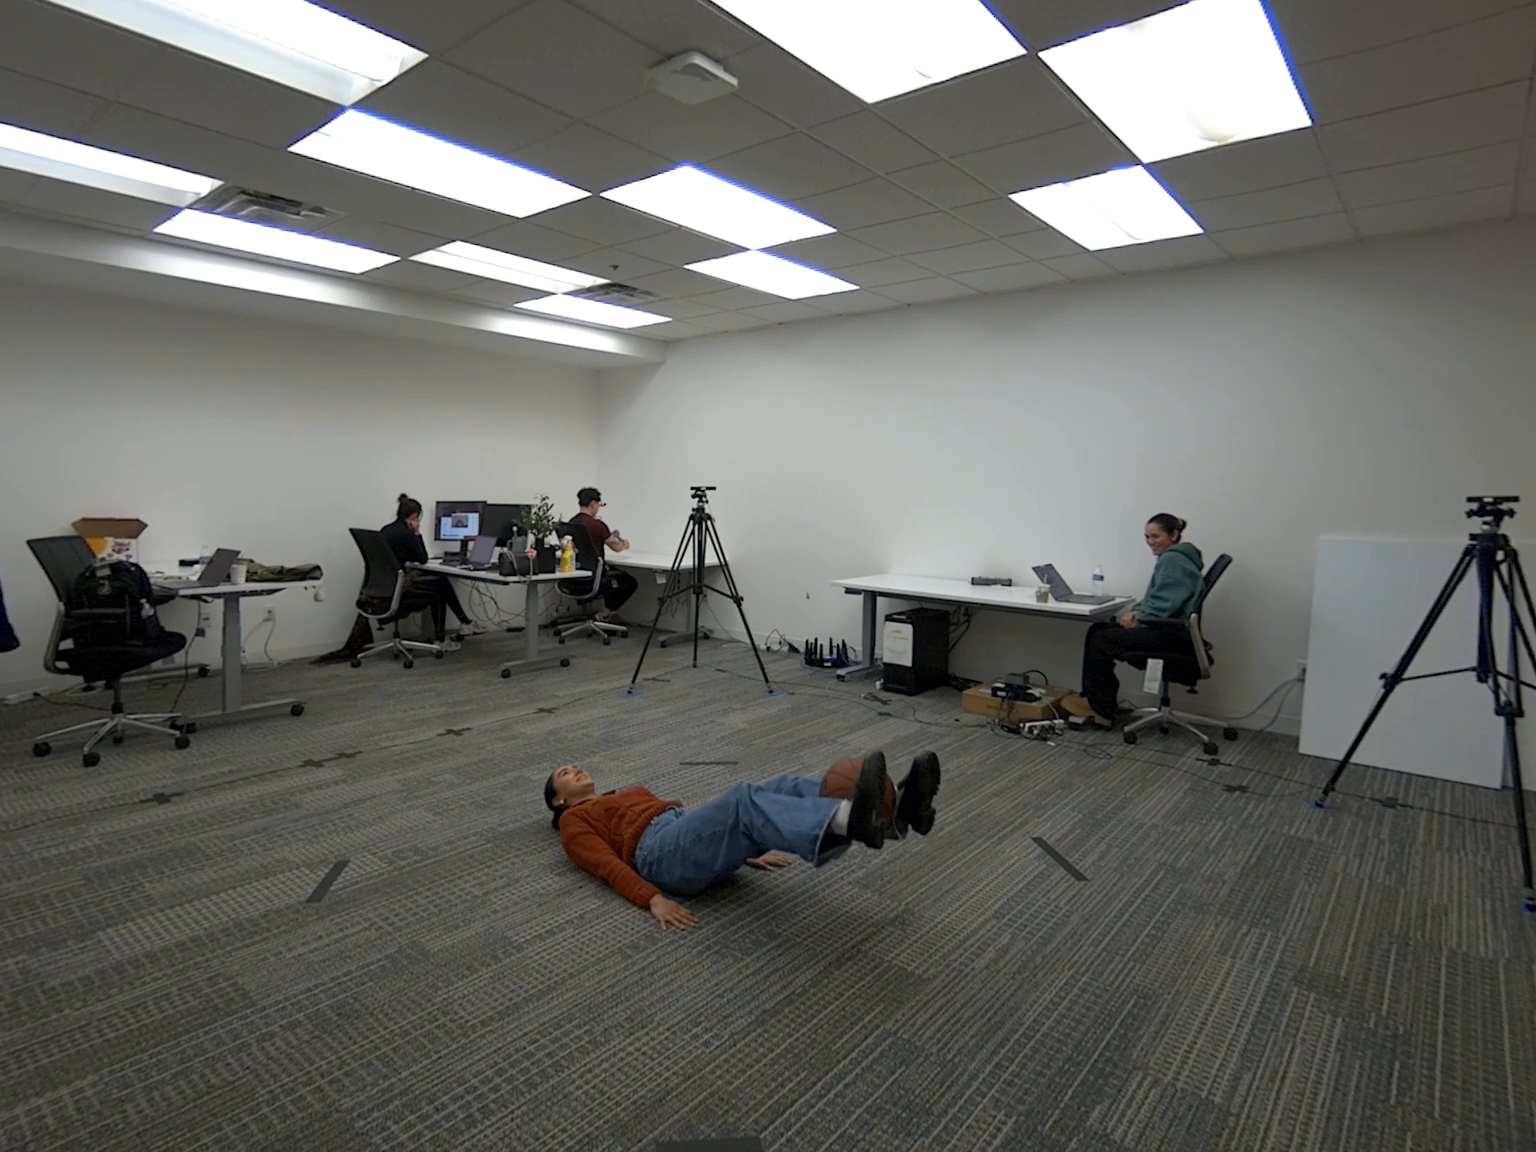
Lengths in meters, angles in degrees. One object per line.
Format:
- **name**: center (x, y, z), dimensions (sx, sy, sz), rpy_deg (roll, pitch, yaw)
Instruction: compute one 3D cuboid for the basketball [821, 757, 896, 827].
- **basketball**: center (0.264, 0.684, 2.633), dimensions (0.236, 0.235, 0.237), rpy_deg (1, 4, -2)
